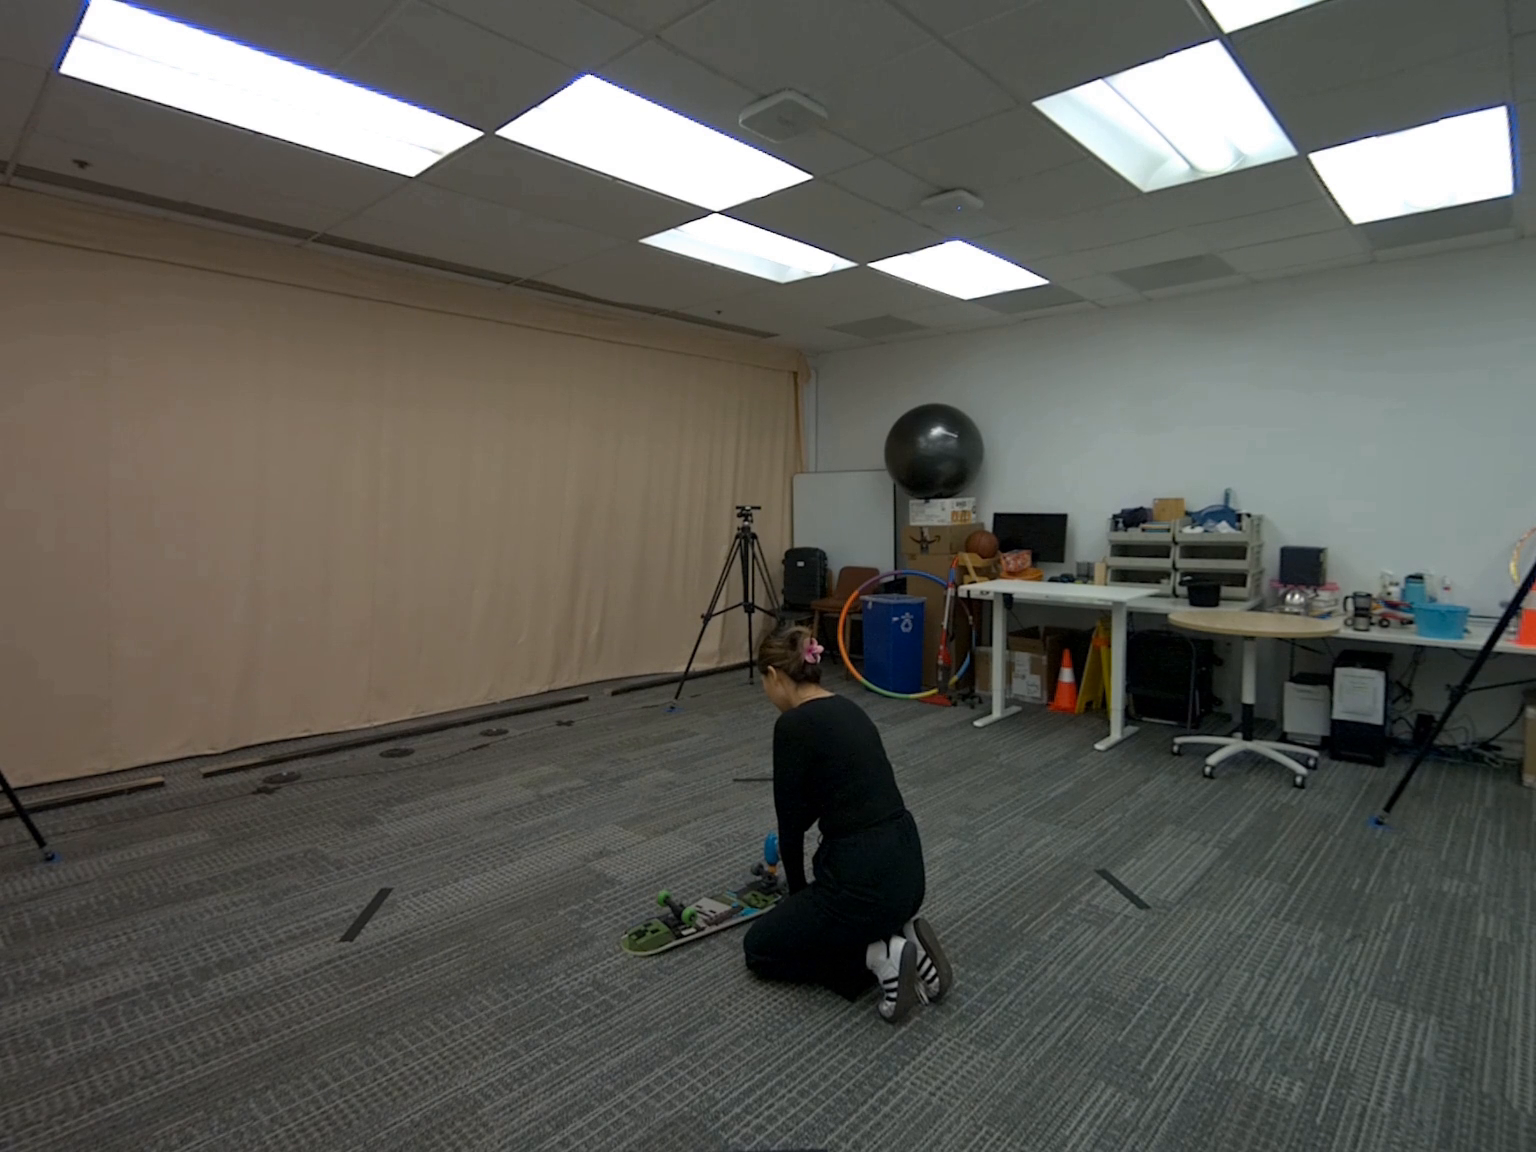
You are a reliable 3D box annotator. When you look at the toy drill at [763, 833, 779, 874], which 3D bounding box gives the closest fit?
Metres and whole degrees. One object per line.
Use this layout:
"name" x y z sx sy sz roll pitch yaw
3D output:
"toy drill" 0.057 1.013 2.992 0.150 0.170 0.059 -5 -8 38
